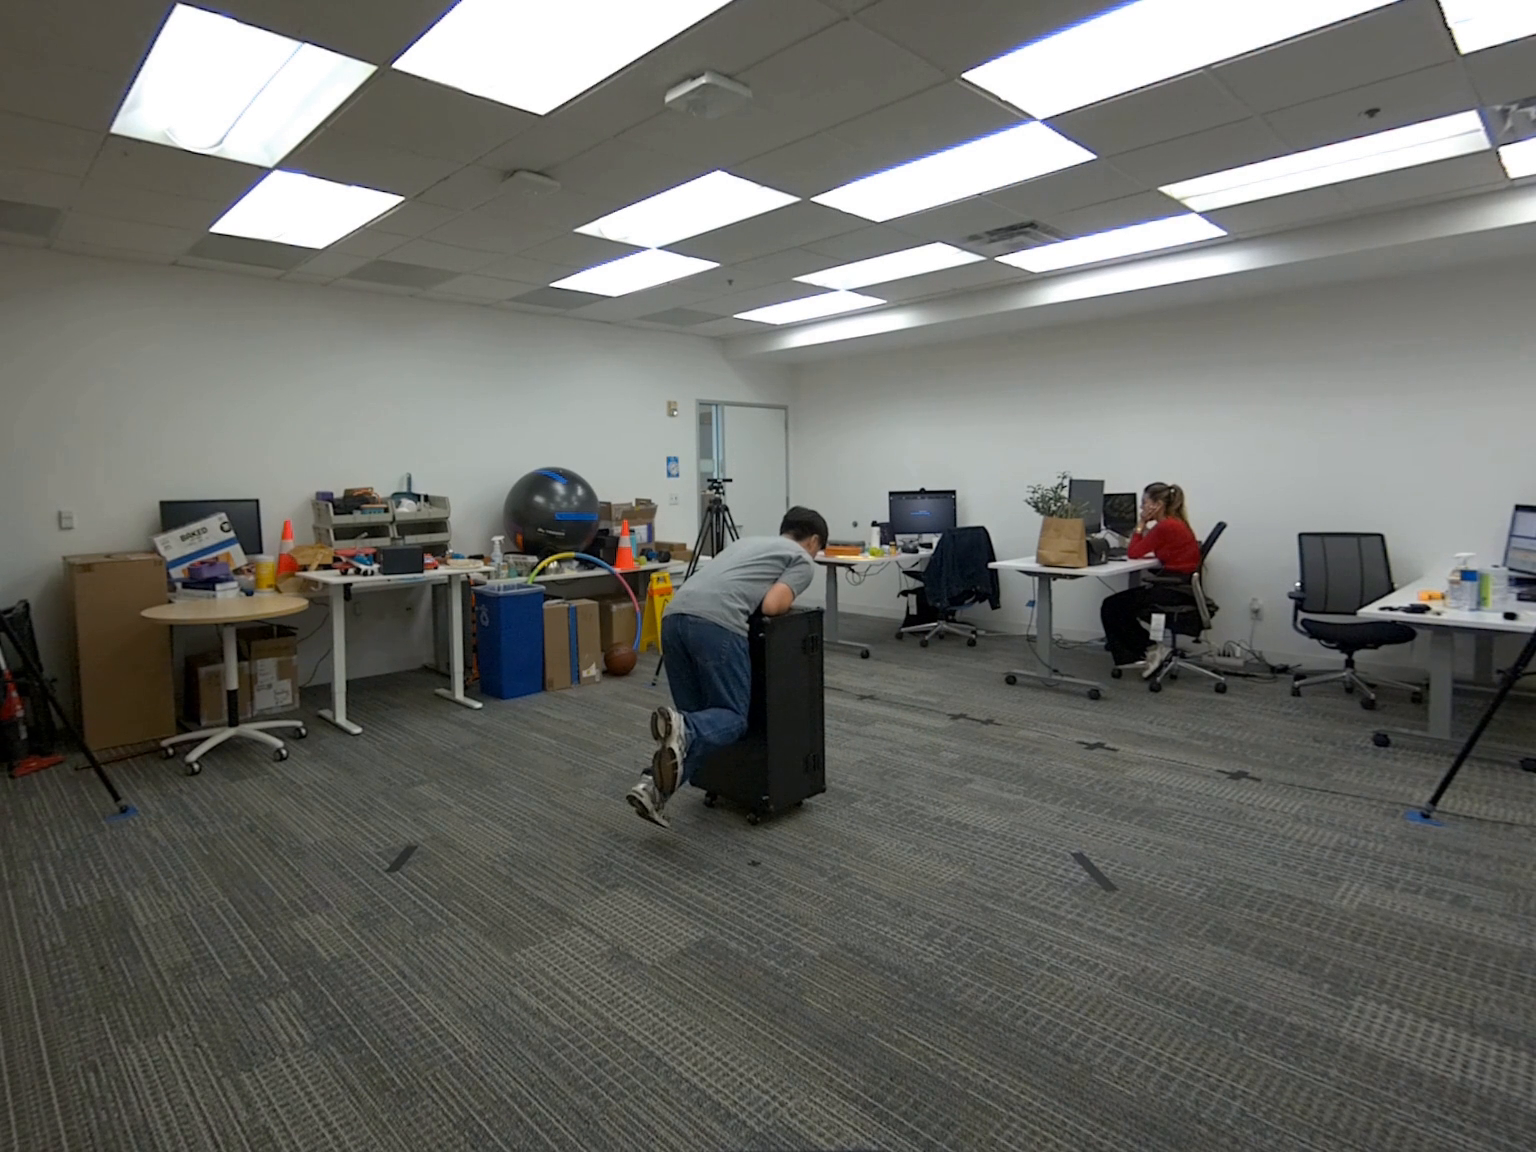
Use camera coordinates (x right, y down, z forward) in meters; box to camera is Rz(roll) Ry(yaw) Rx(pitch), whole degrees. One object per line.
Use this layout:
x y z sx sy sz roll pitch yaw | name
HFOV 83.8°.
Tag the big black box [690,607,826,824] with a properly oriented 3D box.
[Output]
-0.059 0.560 3.642 0.537 0.858 0.386 4 7 45 | big black box
